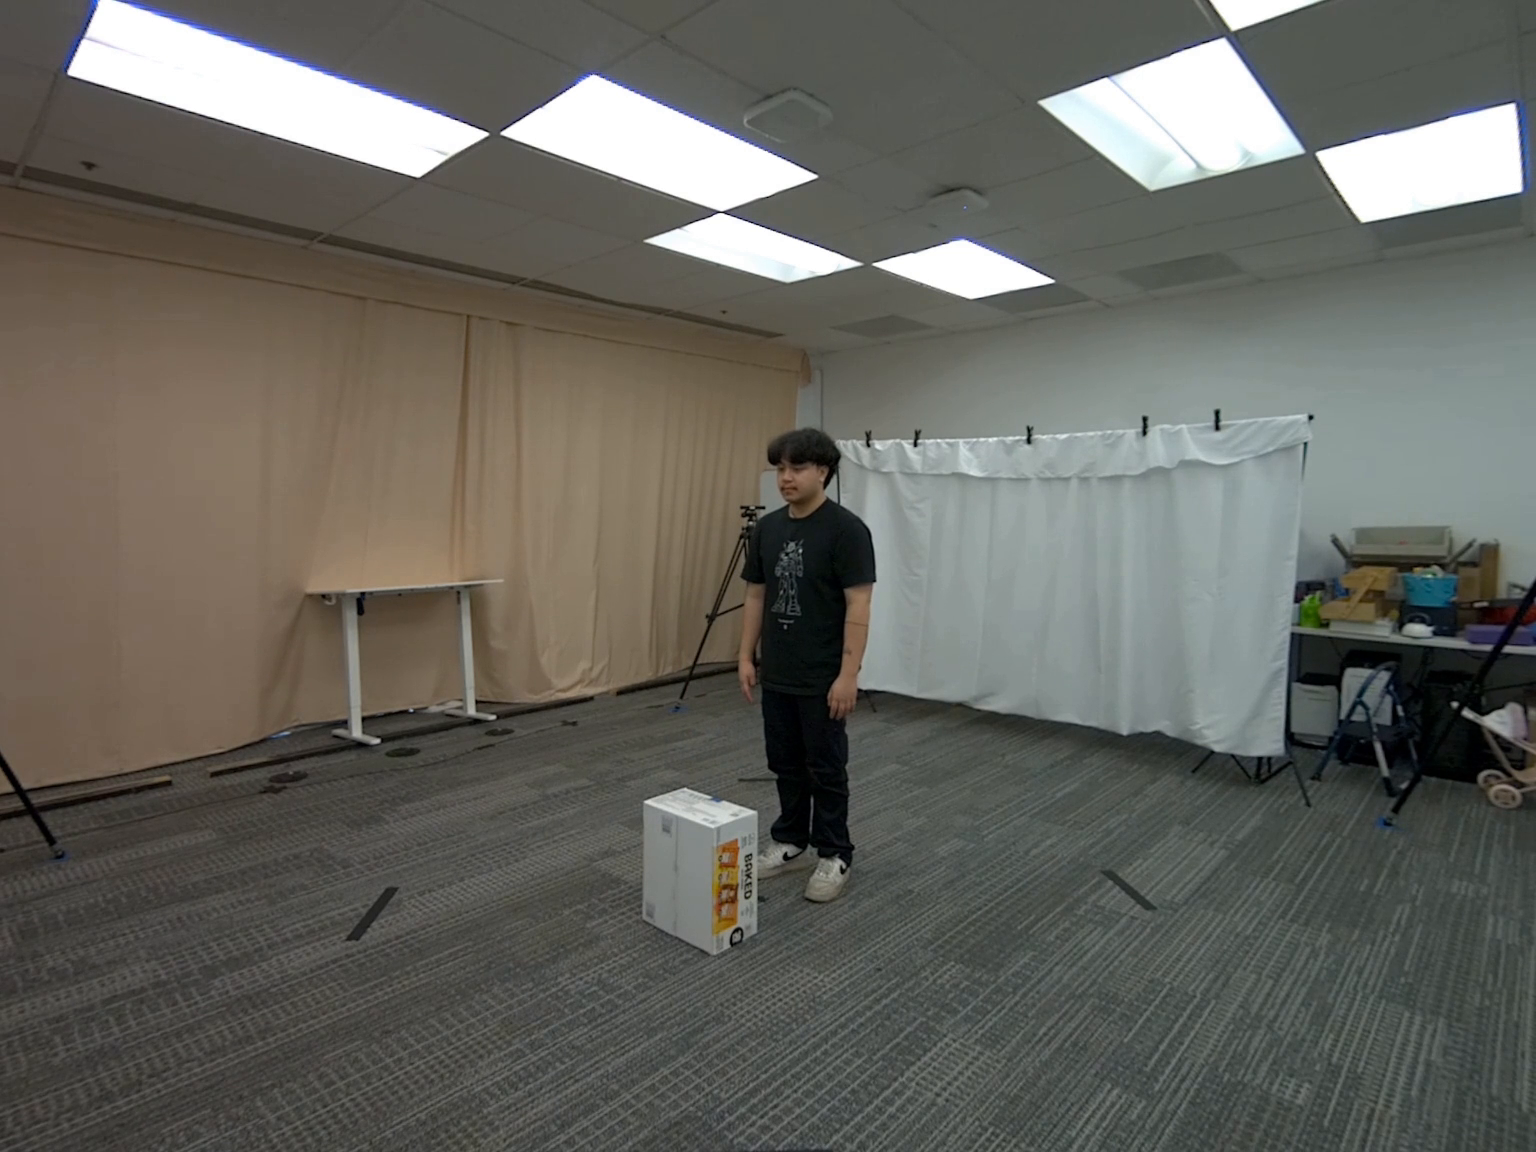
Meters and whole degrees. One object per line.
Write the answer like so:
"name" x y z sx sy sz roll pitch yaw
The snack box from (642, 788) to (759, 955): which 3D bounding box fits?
"snack box" -0.226 0.958 2.786 0.352 0.404 0.199 3 5 42
